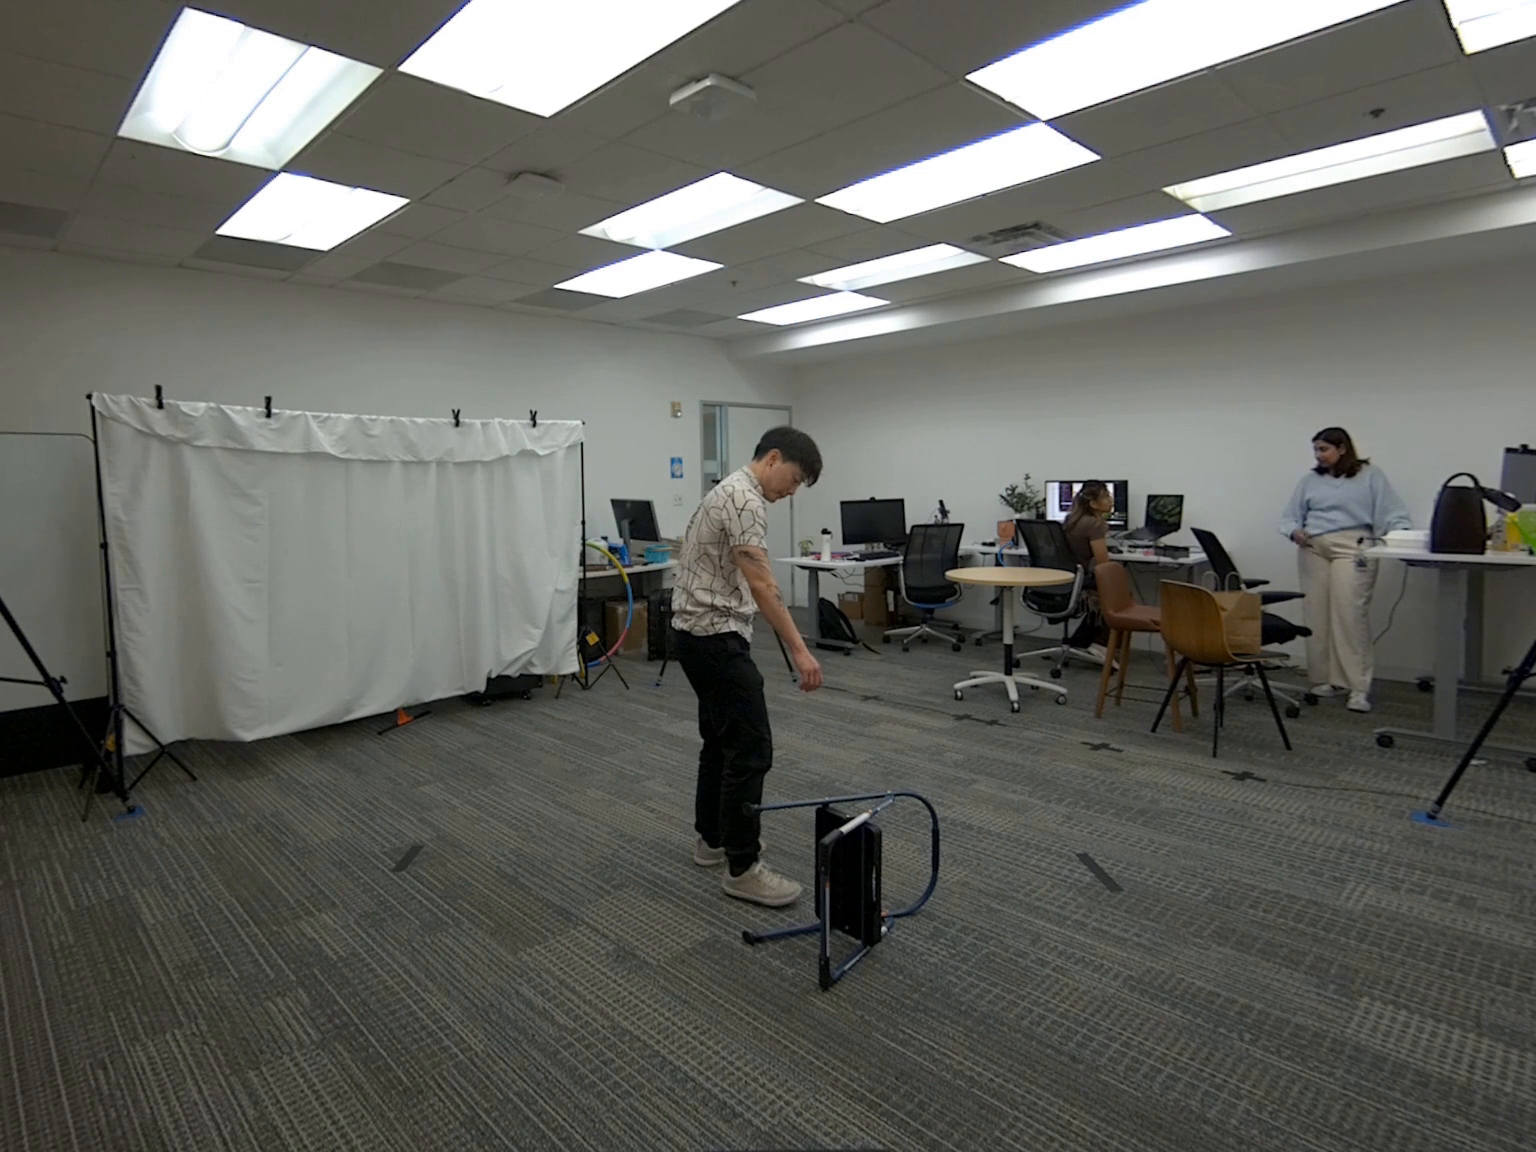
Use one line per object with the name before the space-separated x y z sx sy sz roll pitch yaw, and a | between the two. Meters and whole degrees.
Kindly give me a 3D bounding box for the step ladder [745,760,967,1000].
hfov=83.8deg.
step ladder | 0.272 0.888 2.626 0.590 0.428 0.360 -5 8 -40
